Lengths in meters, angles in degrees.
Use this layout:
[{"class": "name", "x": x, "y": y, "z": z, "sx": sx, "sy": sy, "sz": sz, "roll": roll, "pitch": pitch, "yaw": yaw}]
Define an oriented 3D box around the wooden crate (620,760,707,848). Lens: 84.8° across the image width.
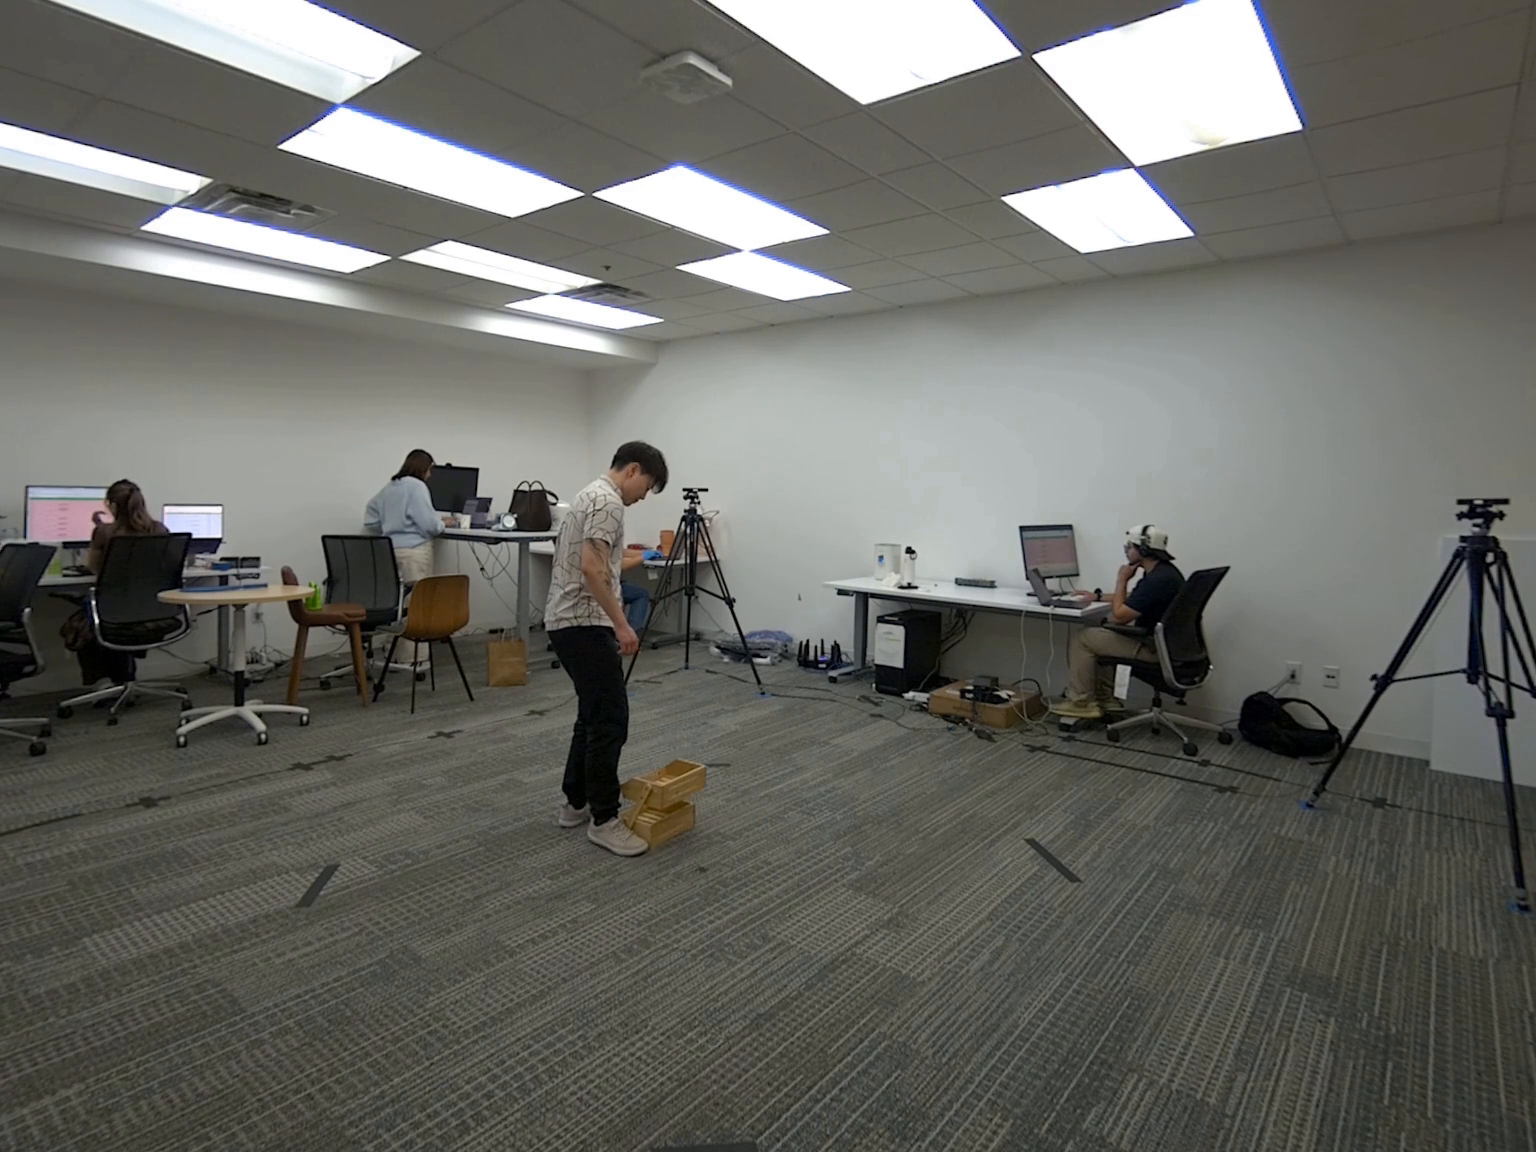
[{"class": "wooden crate", "x": -0.477, "y": 0.898, "z": 3.440, "sx": 0.311, "sy": 0.272, "sz": 0.316, "roll": 5, "pitch": 6, "yaw": 31}]
